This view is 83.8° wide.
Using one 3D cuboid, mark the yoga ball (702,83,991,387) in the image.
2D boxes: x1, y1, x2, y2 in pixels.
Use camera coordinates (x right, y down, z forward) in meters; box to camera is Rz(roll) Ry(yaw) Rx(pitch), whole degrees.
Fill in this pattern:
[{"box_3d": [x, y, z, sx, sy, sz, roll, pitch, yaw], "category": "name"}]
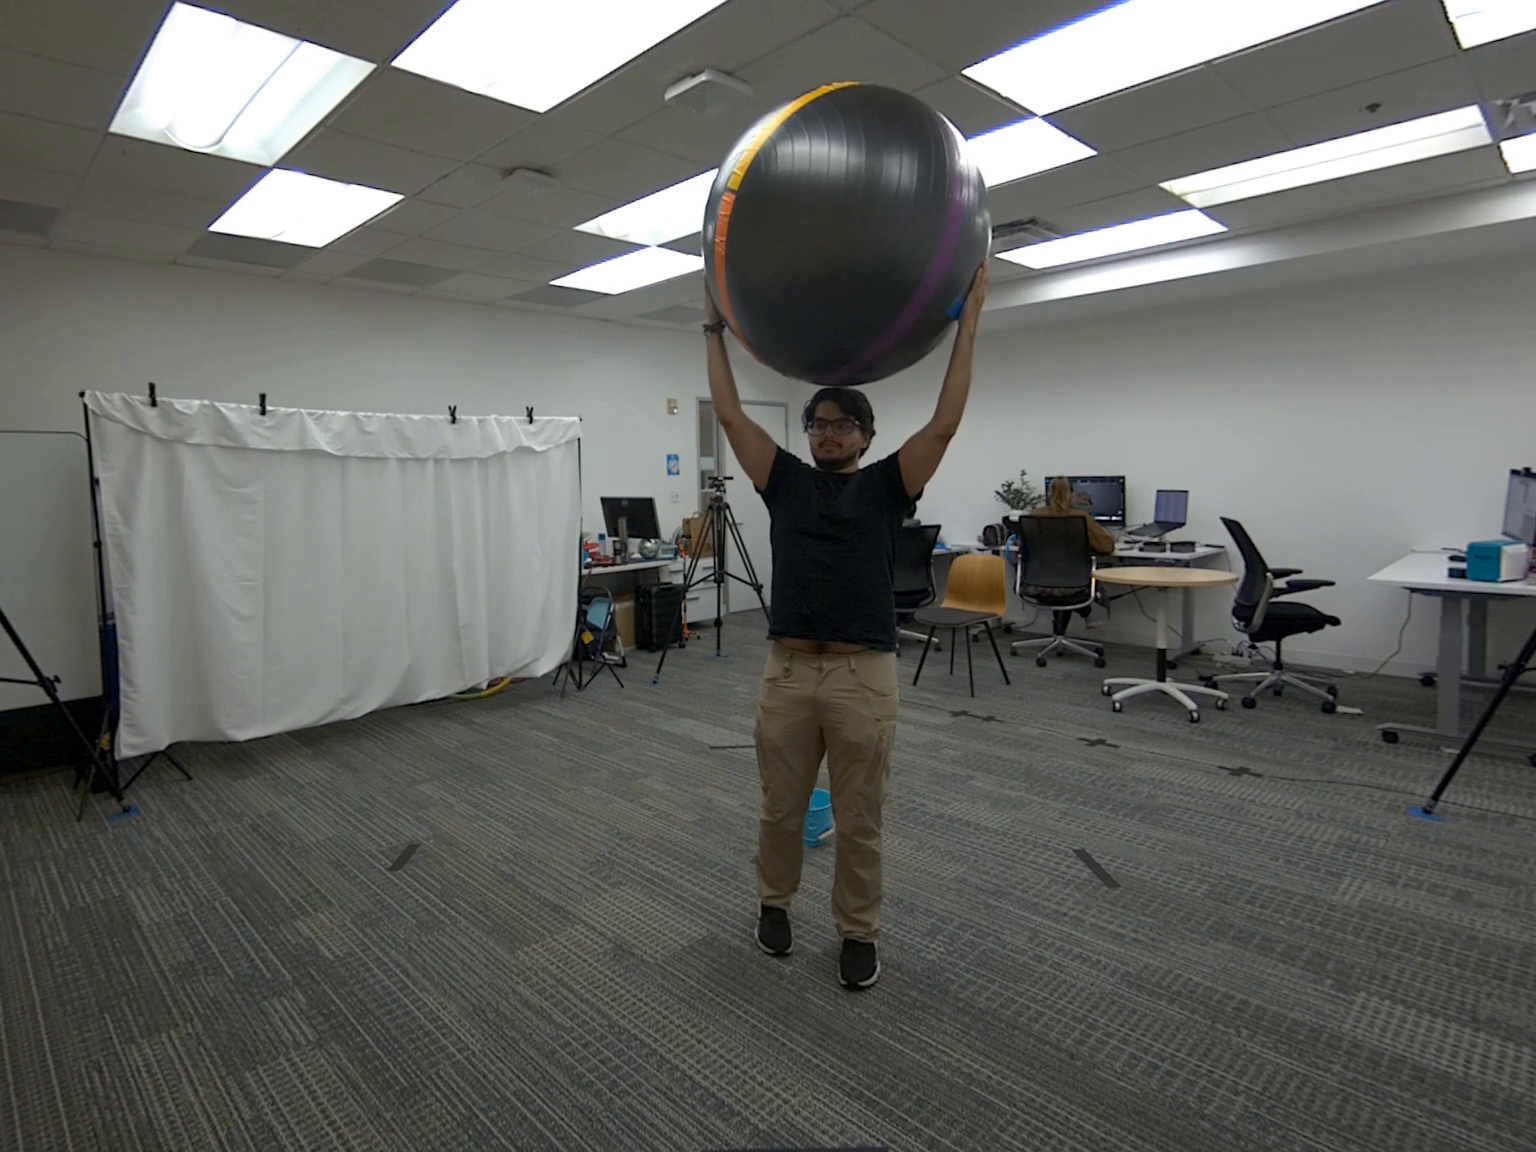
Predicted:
[{"box_3d": [0.196, -0.883, 2.281, 0.757, 0.755, 0.762, -1, 5, -2], "category": "yoga ball"}]
